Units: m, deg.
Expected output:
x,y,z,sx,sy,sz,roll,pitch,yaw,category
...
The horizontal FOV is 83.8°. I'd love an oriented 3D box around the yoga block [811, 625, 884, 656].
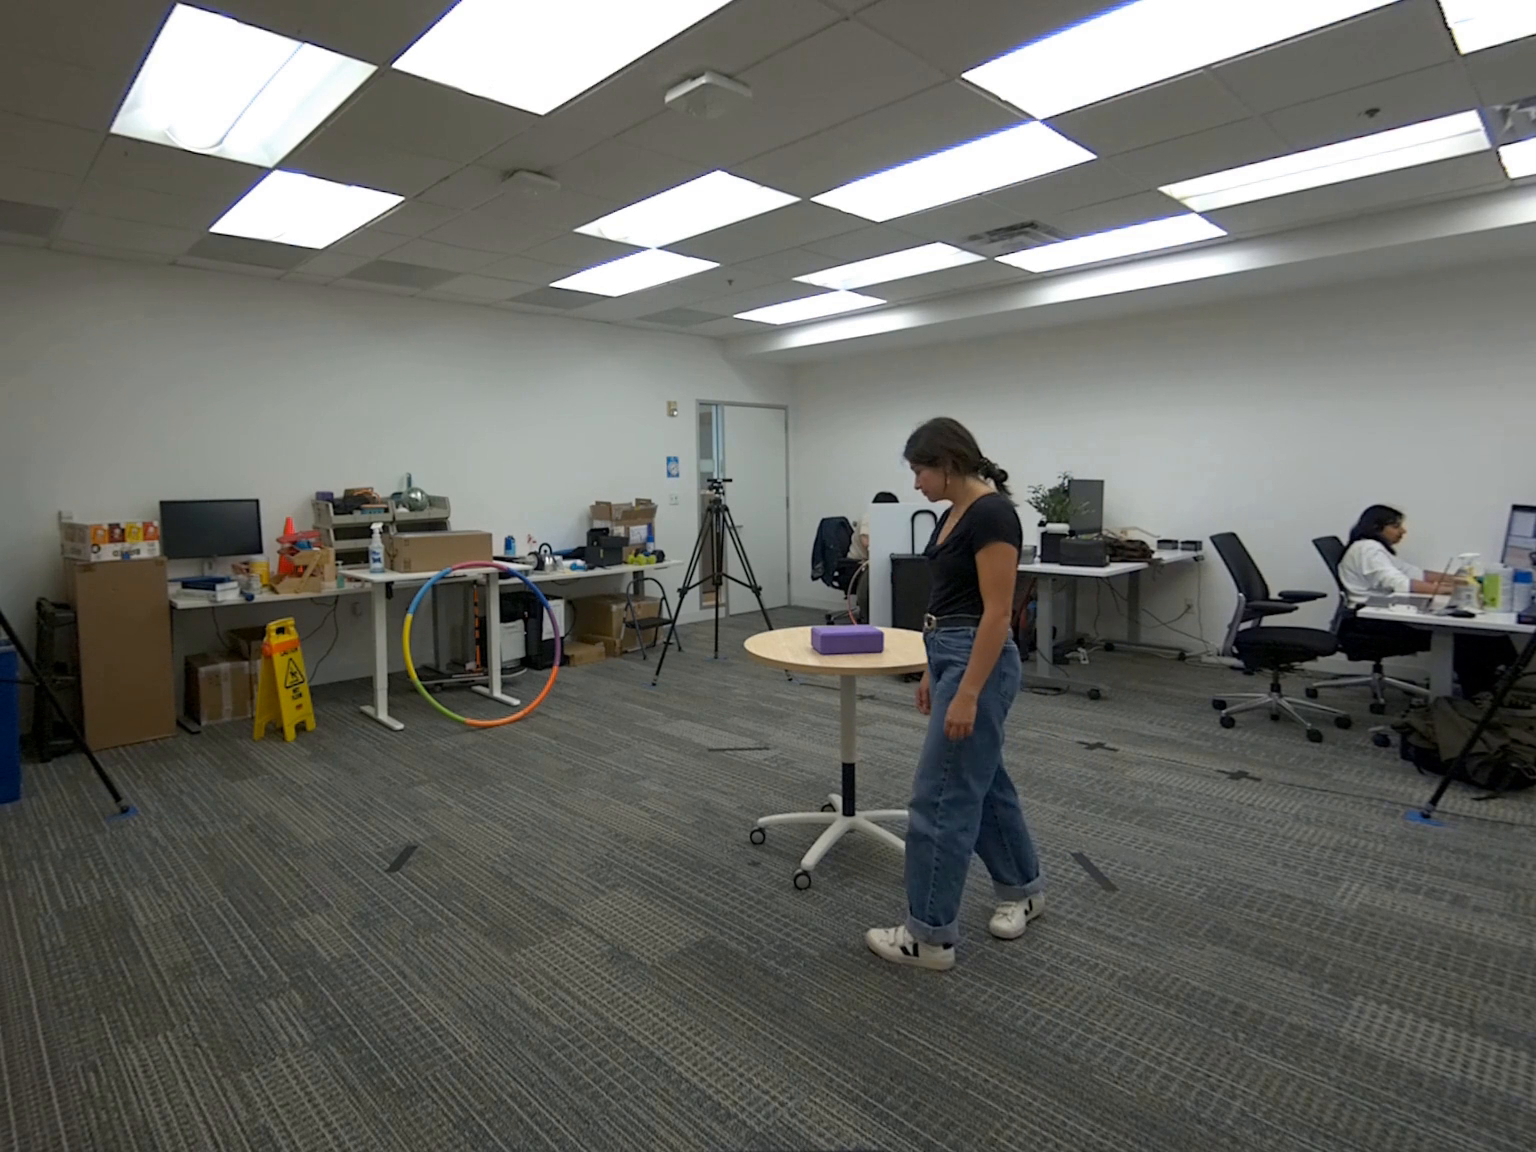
x,y,z,sx,sy,sz,roll,pitch,yaw,category
0.286,0.228,3.044,0.227,0.076,0.151,-1,6,-9,yoga block
